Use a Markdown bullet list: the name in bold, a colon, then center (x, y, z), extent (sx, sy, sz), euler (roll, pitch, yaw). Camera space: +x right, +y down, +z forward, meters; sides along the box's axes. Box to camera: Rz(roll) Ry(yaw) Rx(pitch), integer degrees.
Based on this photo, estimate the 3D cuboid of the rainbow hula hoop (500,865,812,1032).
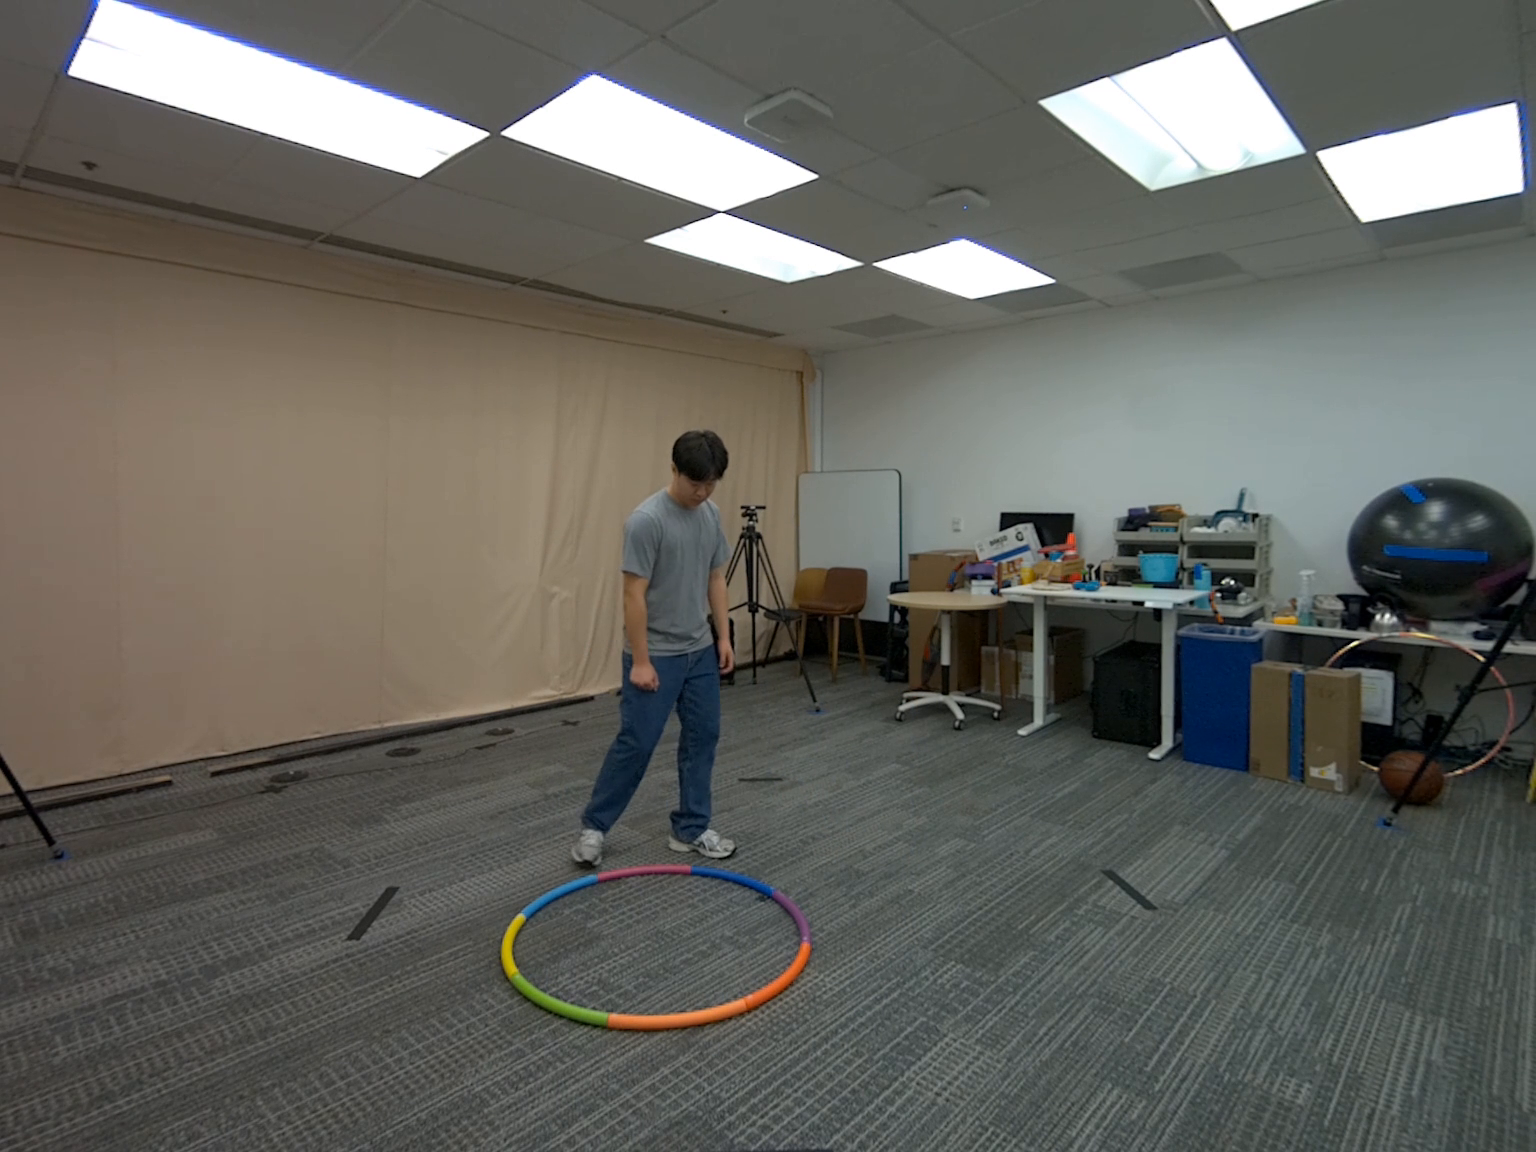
- **rainbow hula hoop**: center (-0.351, 1.141, 2.721), extent (0.978, 0.035, 0.982), euler (-1, 5, -2)
